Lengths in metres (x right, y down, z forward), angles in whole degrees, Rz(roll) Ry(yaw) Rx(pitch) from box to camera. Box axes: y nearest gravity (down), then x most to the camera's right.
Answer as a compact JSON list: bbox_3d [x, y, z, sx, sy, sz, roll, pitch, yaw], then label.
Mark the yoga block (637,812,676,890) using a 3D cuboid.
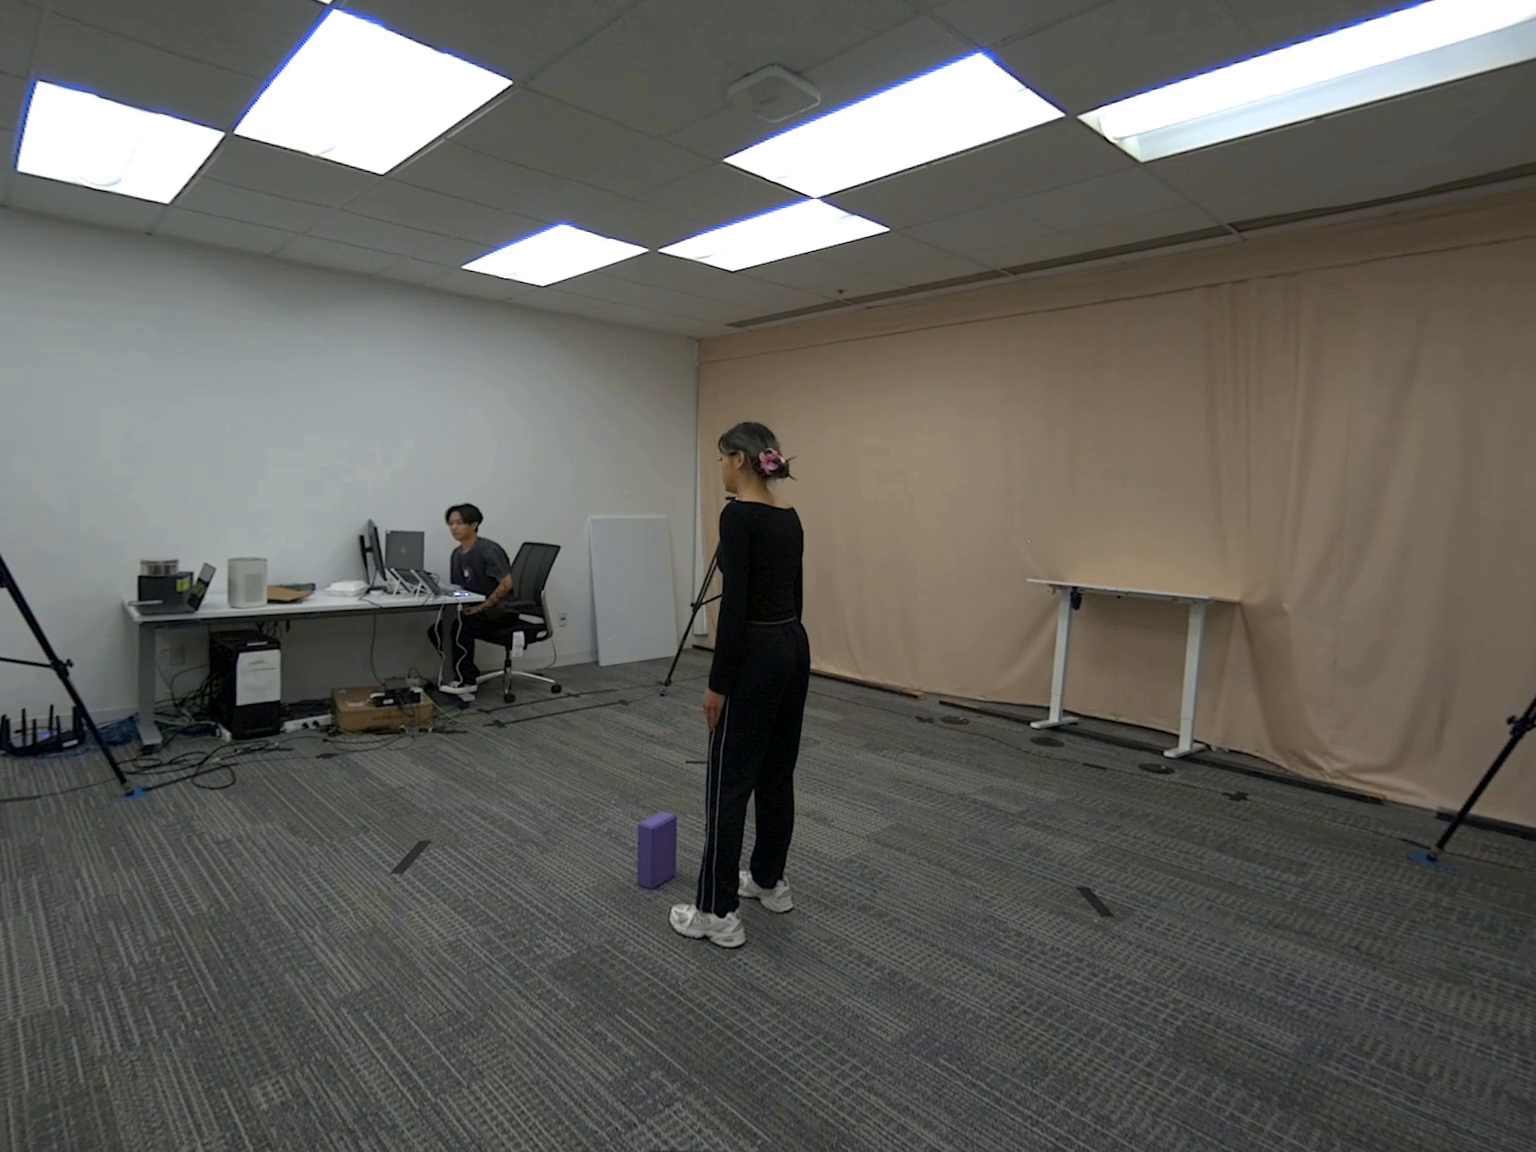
[{"bbox_3d":[-0.404,0.989,3.046,0.078,0.229,0.146,3,4,25],"label":"yoga block"}]
